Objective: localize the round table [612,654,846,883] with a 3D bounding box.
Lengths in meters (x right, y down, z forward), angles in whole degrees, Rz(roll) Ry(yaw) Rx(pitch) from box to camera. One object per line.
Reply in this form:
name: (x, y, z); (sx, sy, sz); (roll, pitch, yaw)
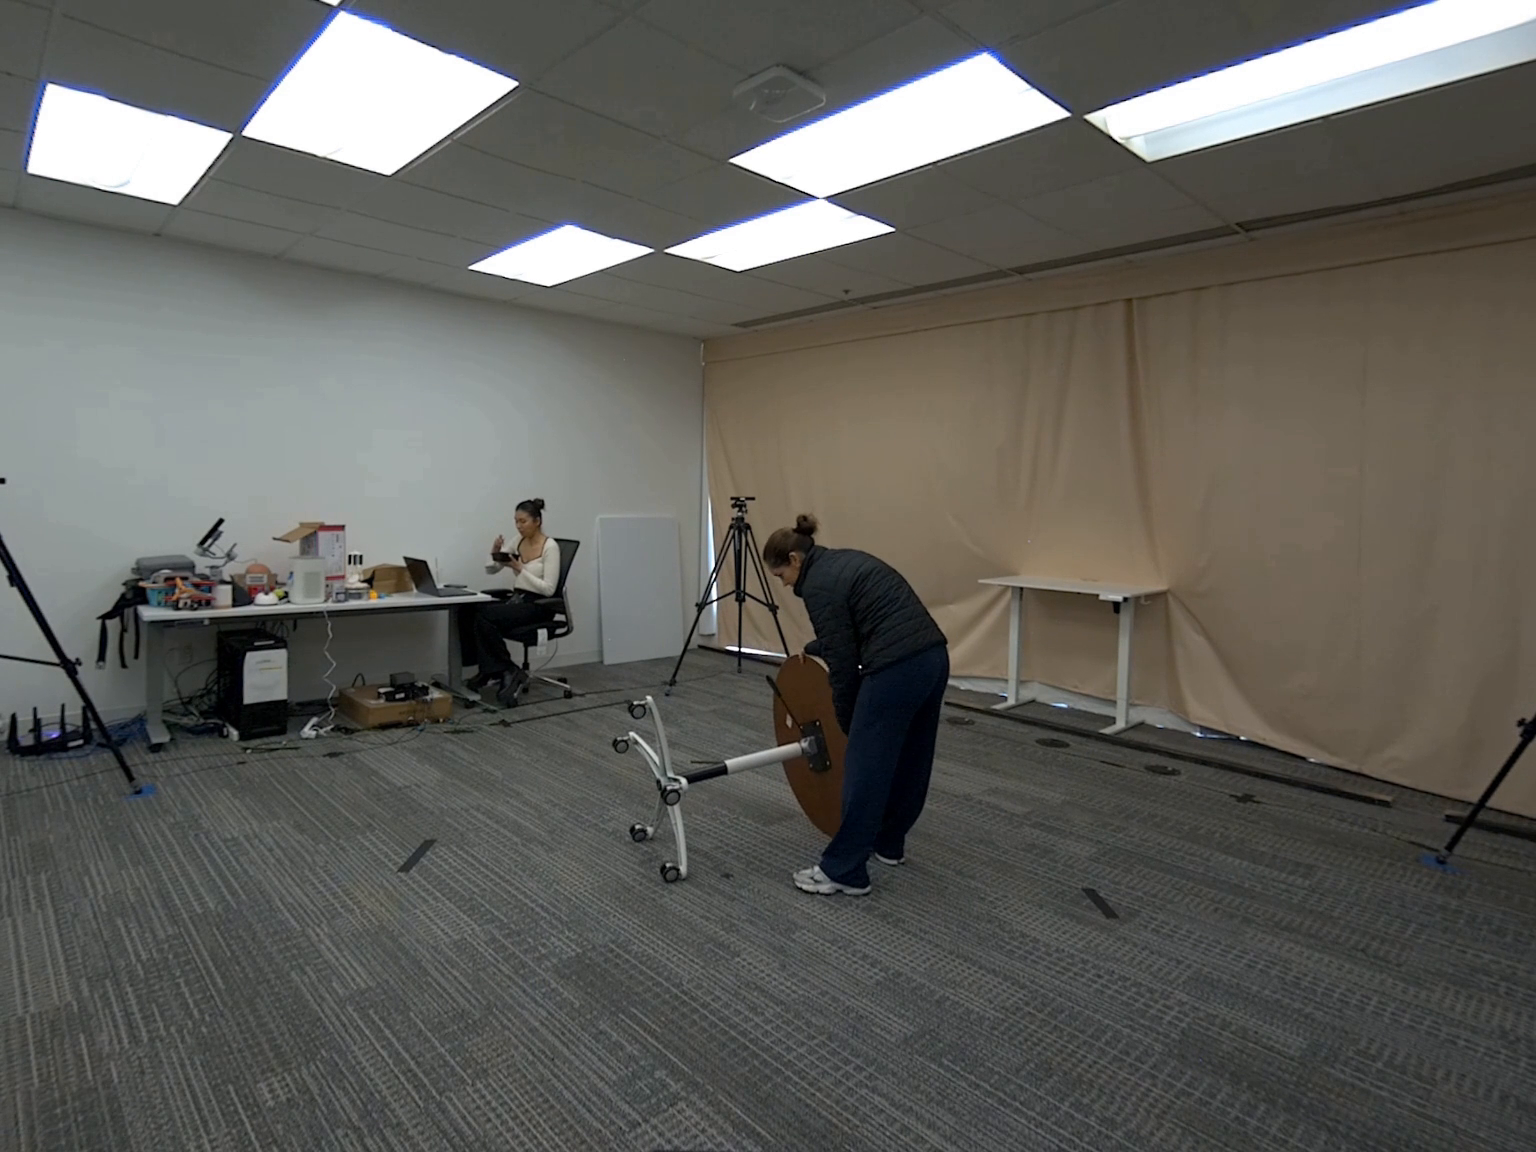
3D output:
round table: (-0.136, 0.750, 3.340); (0.774, 0.780, 0.802); (-9, 8, -26)
